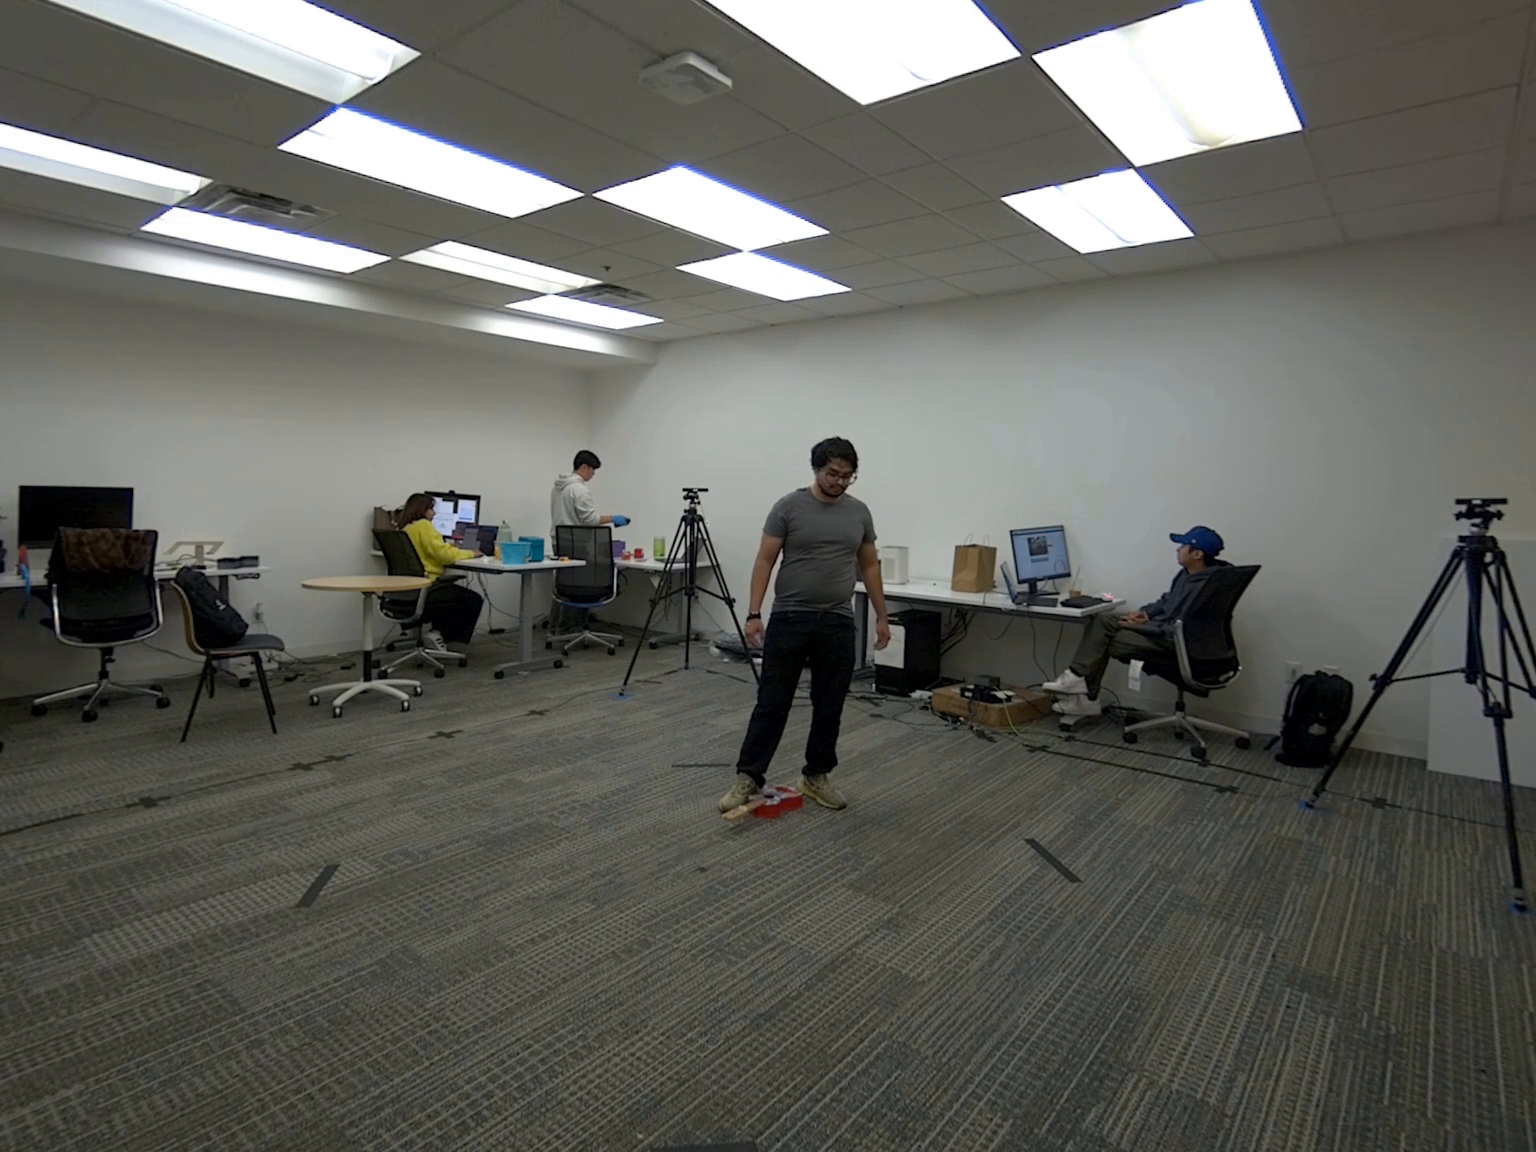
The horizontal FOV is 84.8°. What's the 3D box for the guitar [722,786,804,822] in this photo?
[{"bbox_3d":[-0.058,0.989,3.664,0.483,0.070,0.200,-4,7,-45],"label":"guitar"}]
